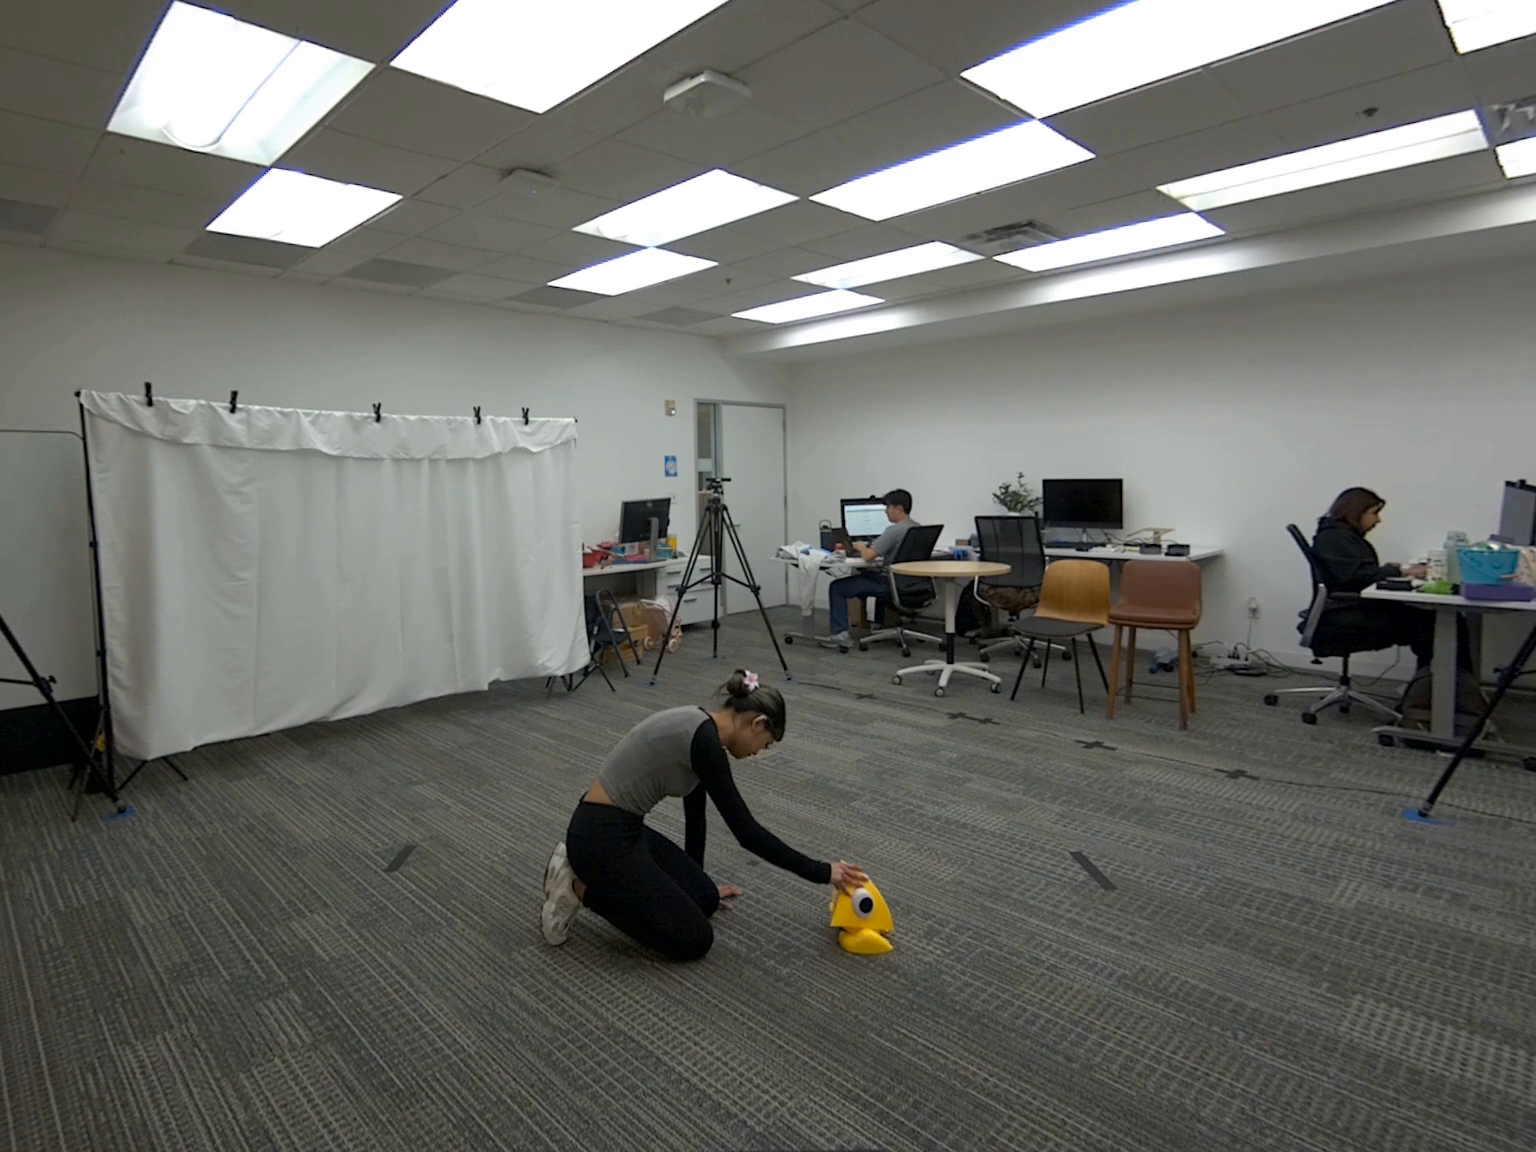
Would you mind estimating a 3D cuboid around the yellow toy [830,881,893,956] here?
[{"bbox_3d":[0.285,0.978,2.592,0.195,0.230,0.204,-1,4,8],"label":"yellow toy"}]
